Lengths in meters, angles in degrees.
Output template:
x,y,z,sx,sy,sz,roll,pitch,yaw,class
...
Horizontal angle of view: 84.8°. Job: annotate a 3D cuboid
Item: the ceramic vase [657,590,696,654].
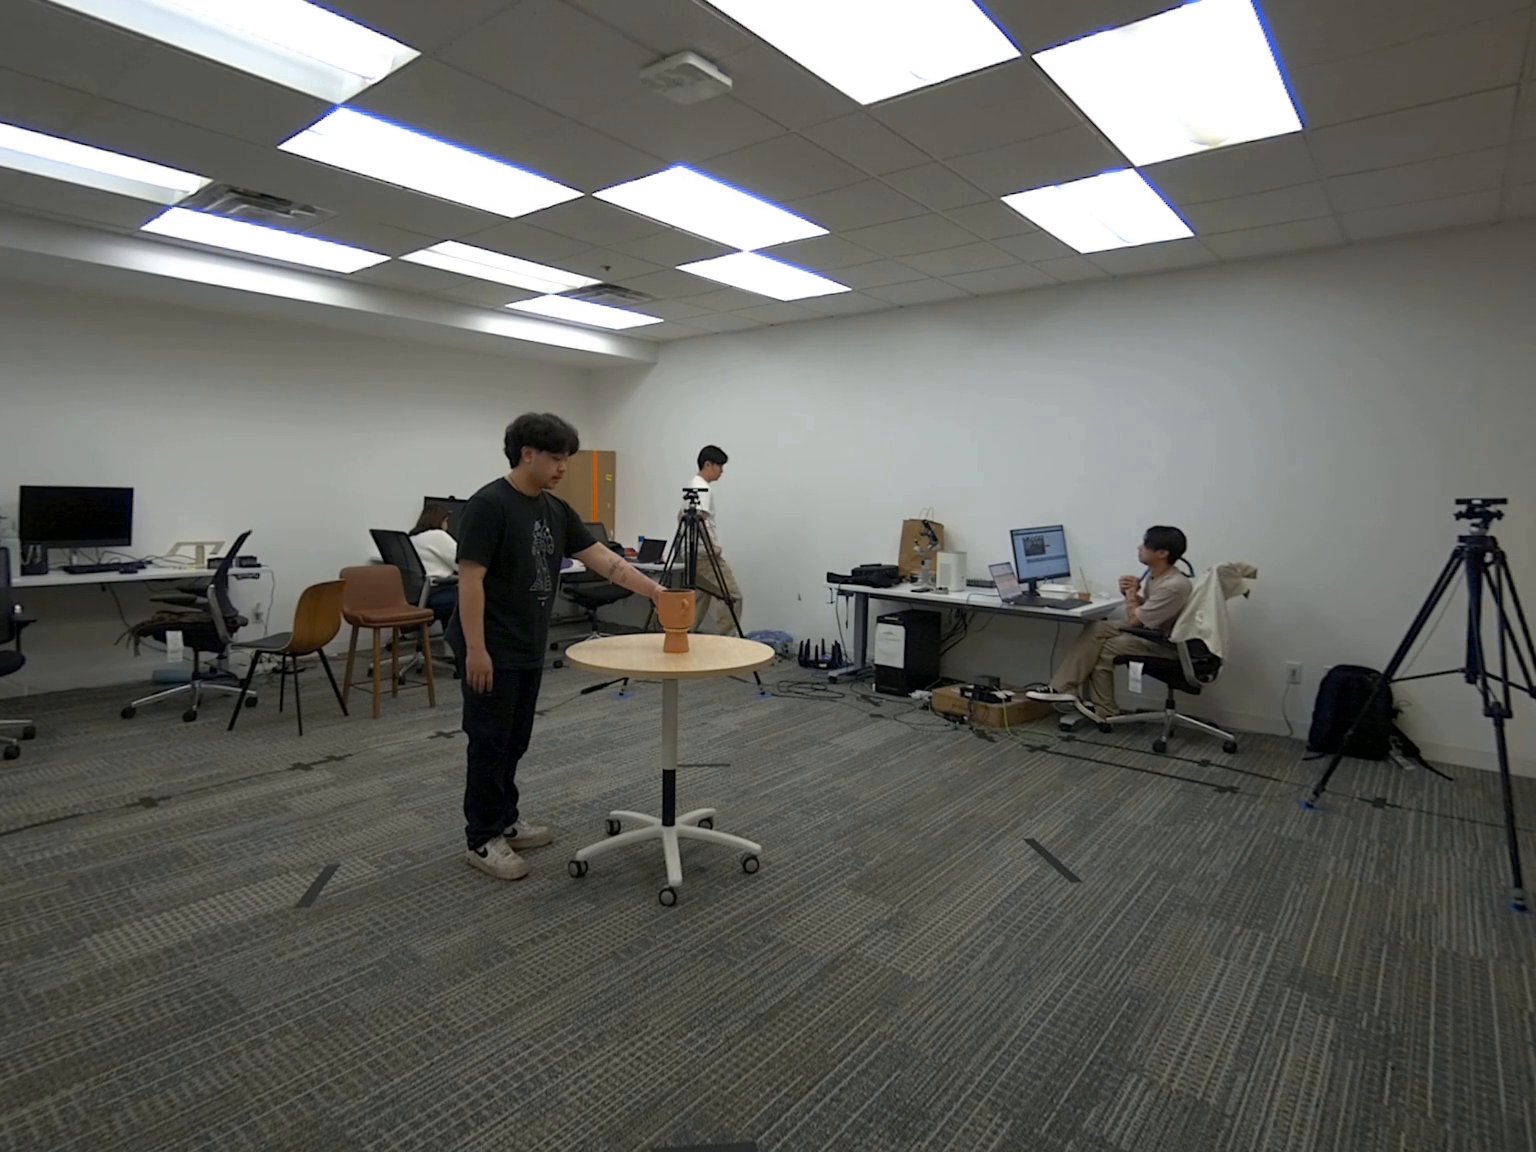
x,y,z,sx,sy,sz,roll,pitch,yaw,class
-0.347,0.167,3.113,0.136,0.219,0.158,2,4,8,ceramic vase
